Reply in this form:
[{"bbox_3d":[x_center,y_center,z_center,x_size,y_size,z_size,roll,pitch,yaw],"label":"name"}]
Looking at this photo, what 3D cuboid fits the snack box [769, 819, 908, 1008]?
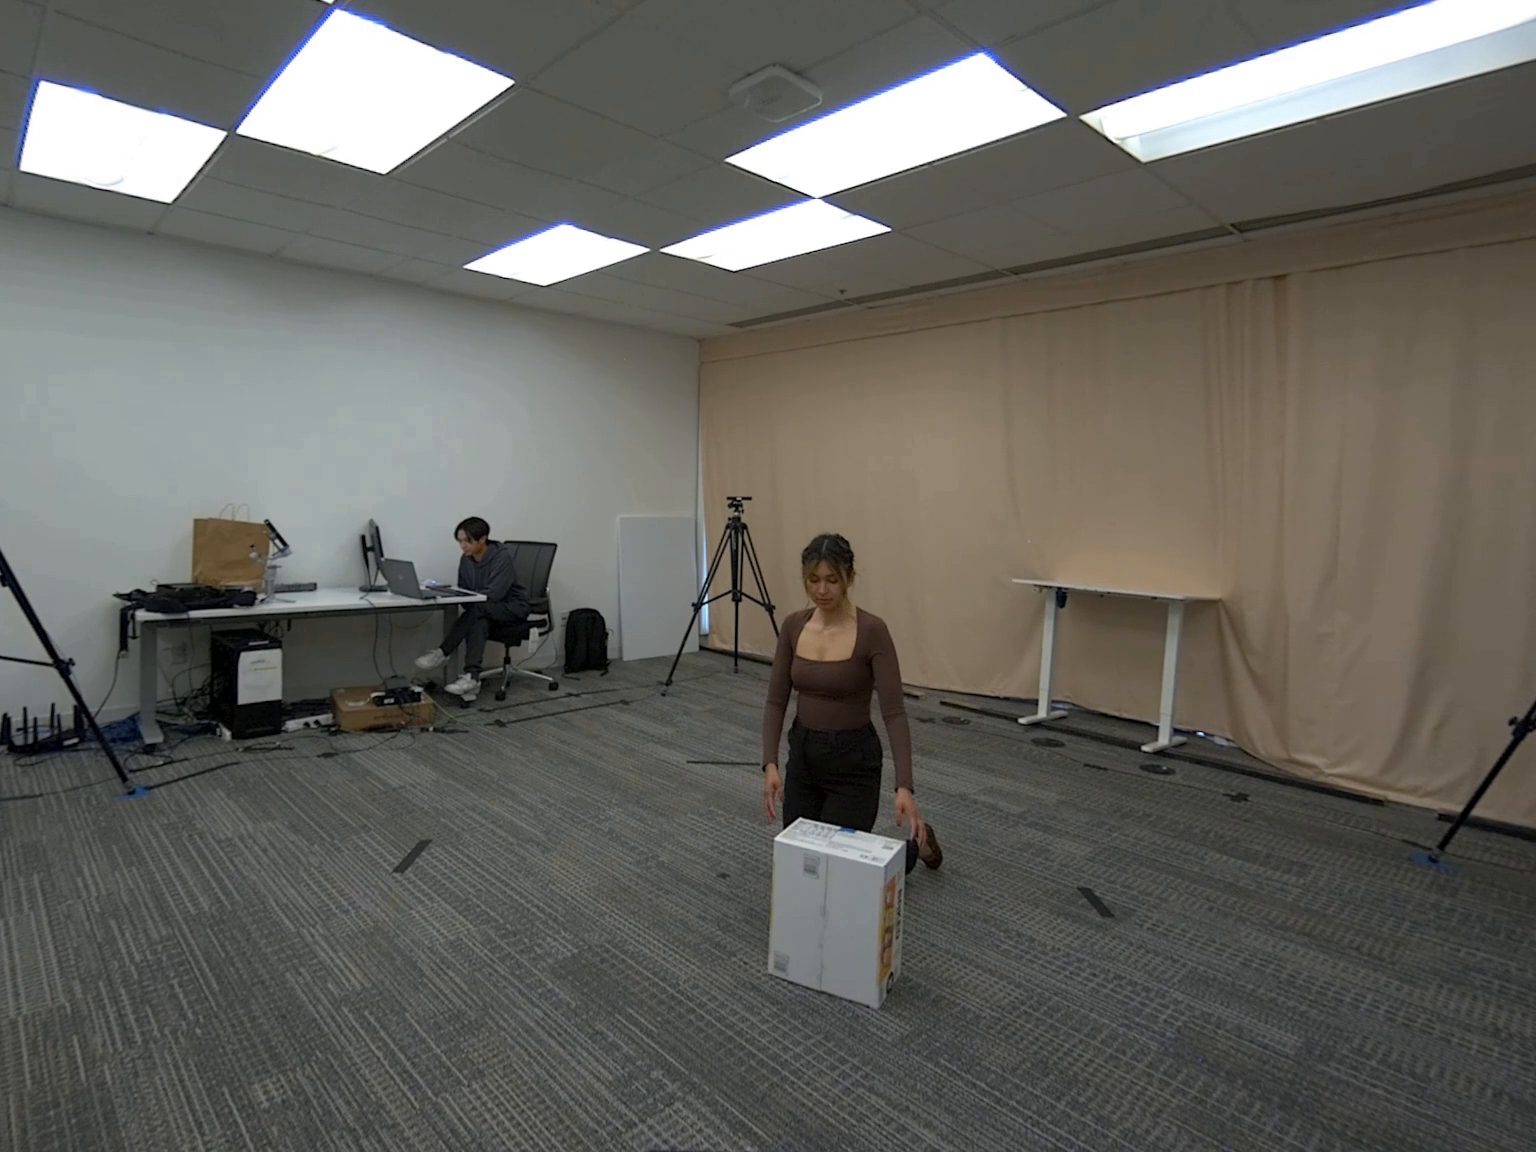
[{"bbox_3d":[0.196,0.967,2.464,0.347,0.404,0.202,4,4,27],"label":"snack box"}]
